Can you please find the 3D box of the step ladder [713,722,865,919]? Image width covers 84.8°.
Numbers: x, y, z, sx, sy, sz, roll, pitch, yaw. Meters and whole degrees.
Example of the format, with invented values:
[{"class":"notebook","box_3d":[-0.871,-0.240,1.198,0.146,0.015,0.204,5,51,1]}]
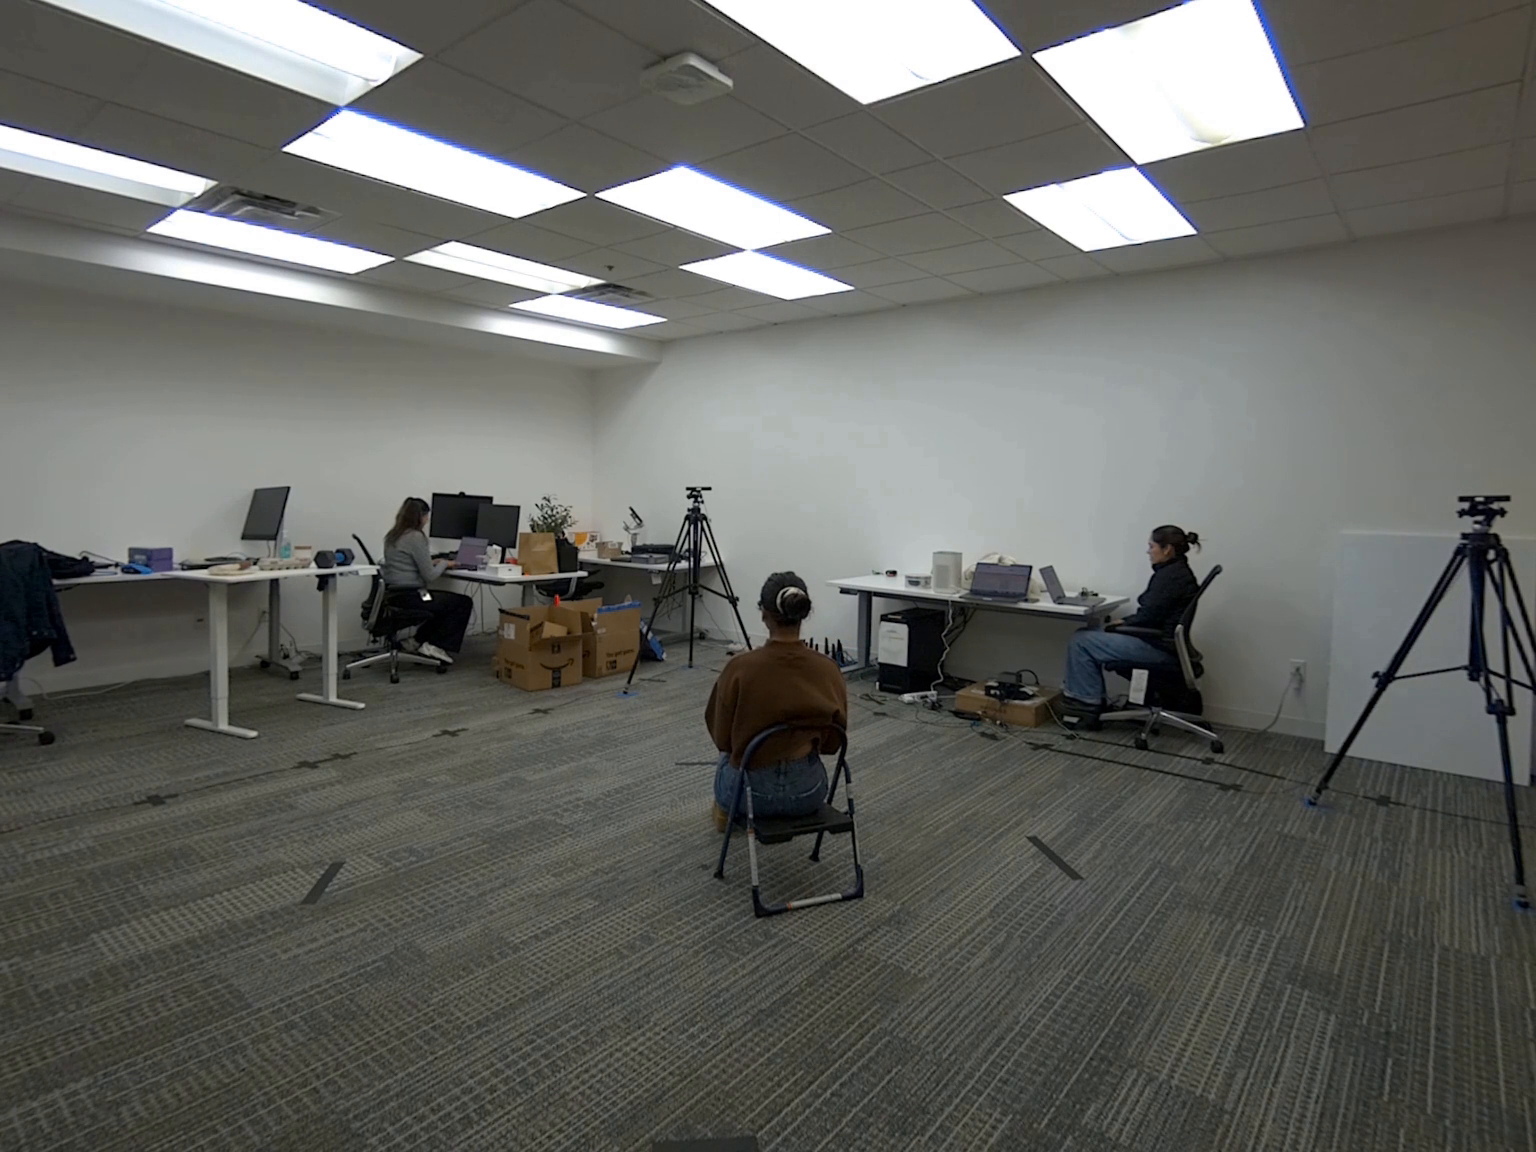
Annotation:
[{"class":"step ladder","box_3d":[0.069,0.789,2.968,0.420,0.604,0.359,-1,4,-26]}]
